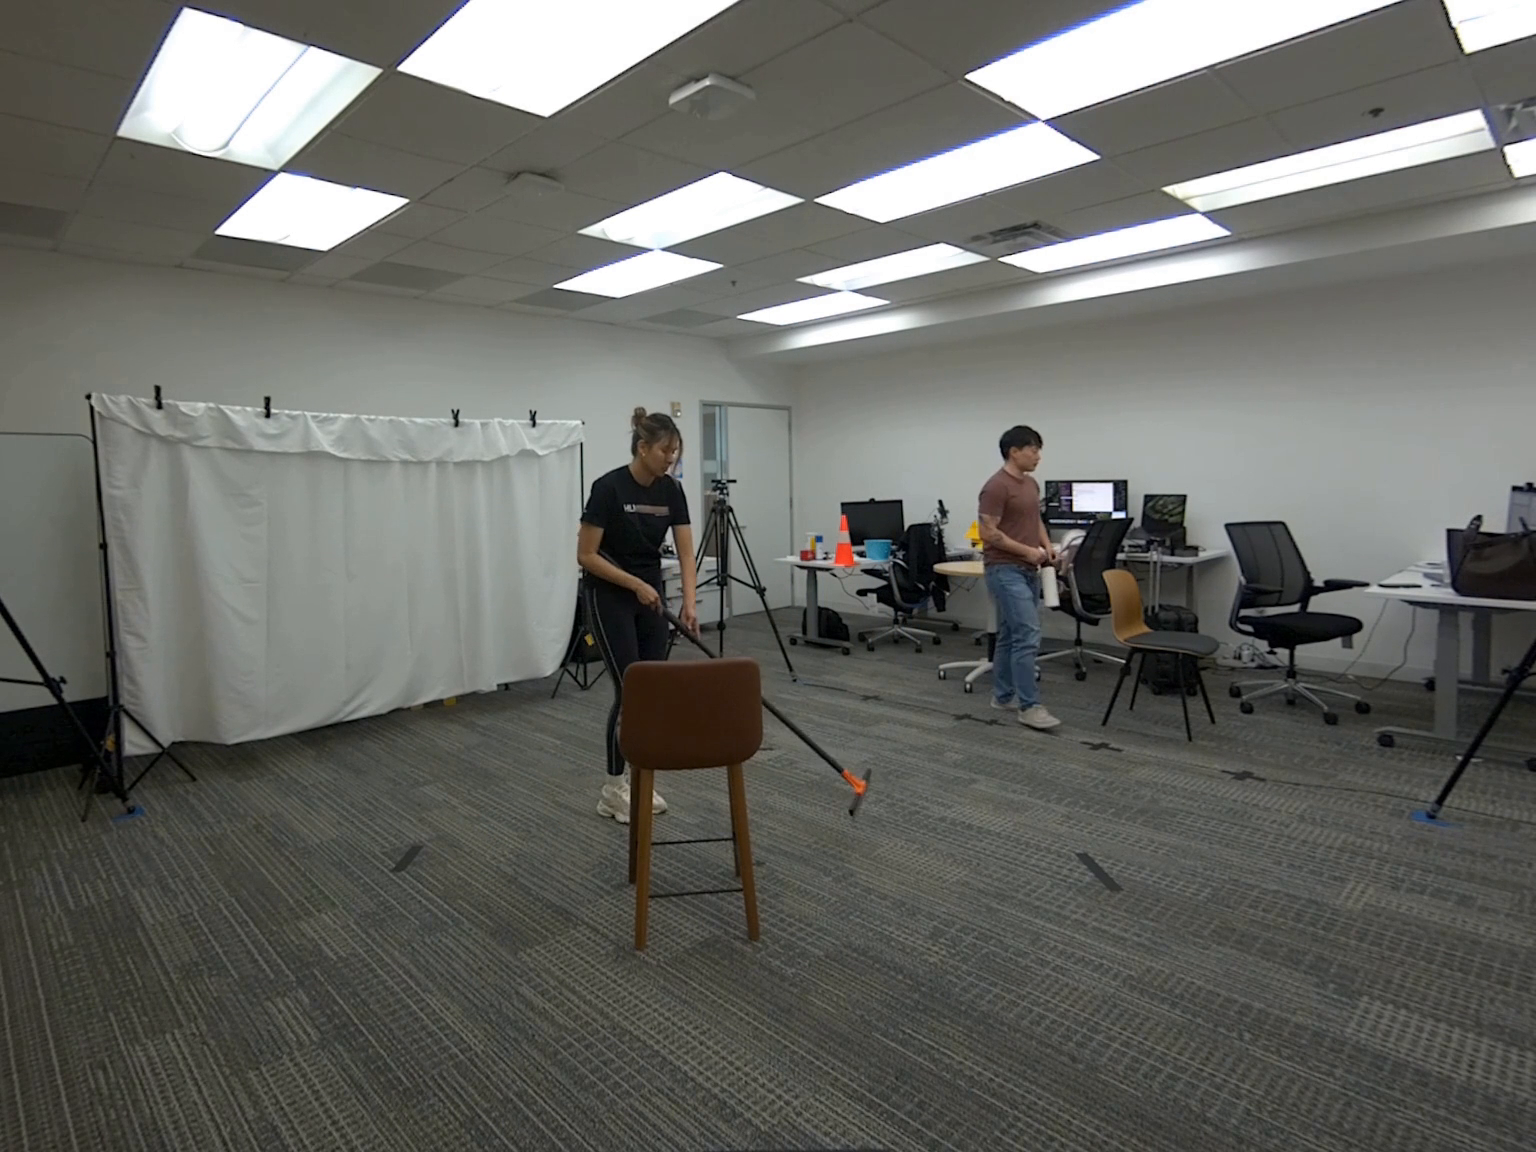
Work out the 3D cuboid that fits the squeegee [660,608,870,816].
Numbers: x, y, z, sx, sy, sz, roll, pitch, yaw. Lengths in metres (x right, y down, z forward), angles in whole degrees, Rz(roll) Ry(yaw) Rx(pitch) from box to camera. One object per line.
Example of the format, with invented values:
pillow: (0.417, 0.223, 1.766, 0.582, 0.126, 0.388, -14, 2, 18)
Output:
squeegee: (-0.190, 0.336, 3.387, 1.563, 0.053, 0.431, 40, 15, 12)
